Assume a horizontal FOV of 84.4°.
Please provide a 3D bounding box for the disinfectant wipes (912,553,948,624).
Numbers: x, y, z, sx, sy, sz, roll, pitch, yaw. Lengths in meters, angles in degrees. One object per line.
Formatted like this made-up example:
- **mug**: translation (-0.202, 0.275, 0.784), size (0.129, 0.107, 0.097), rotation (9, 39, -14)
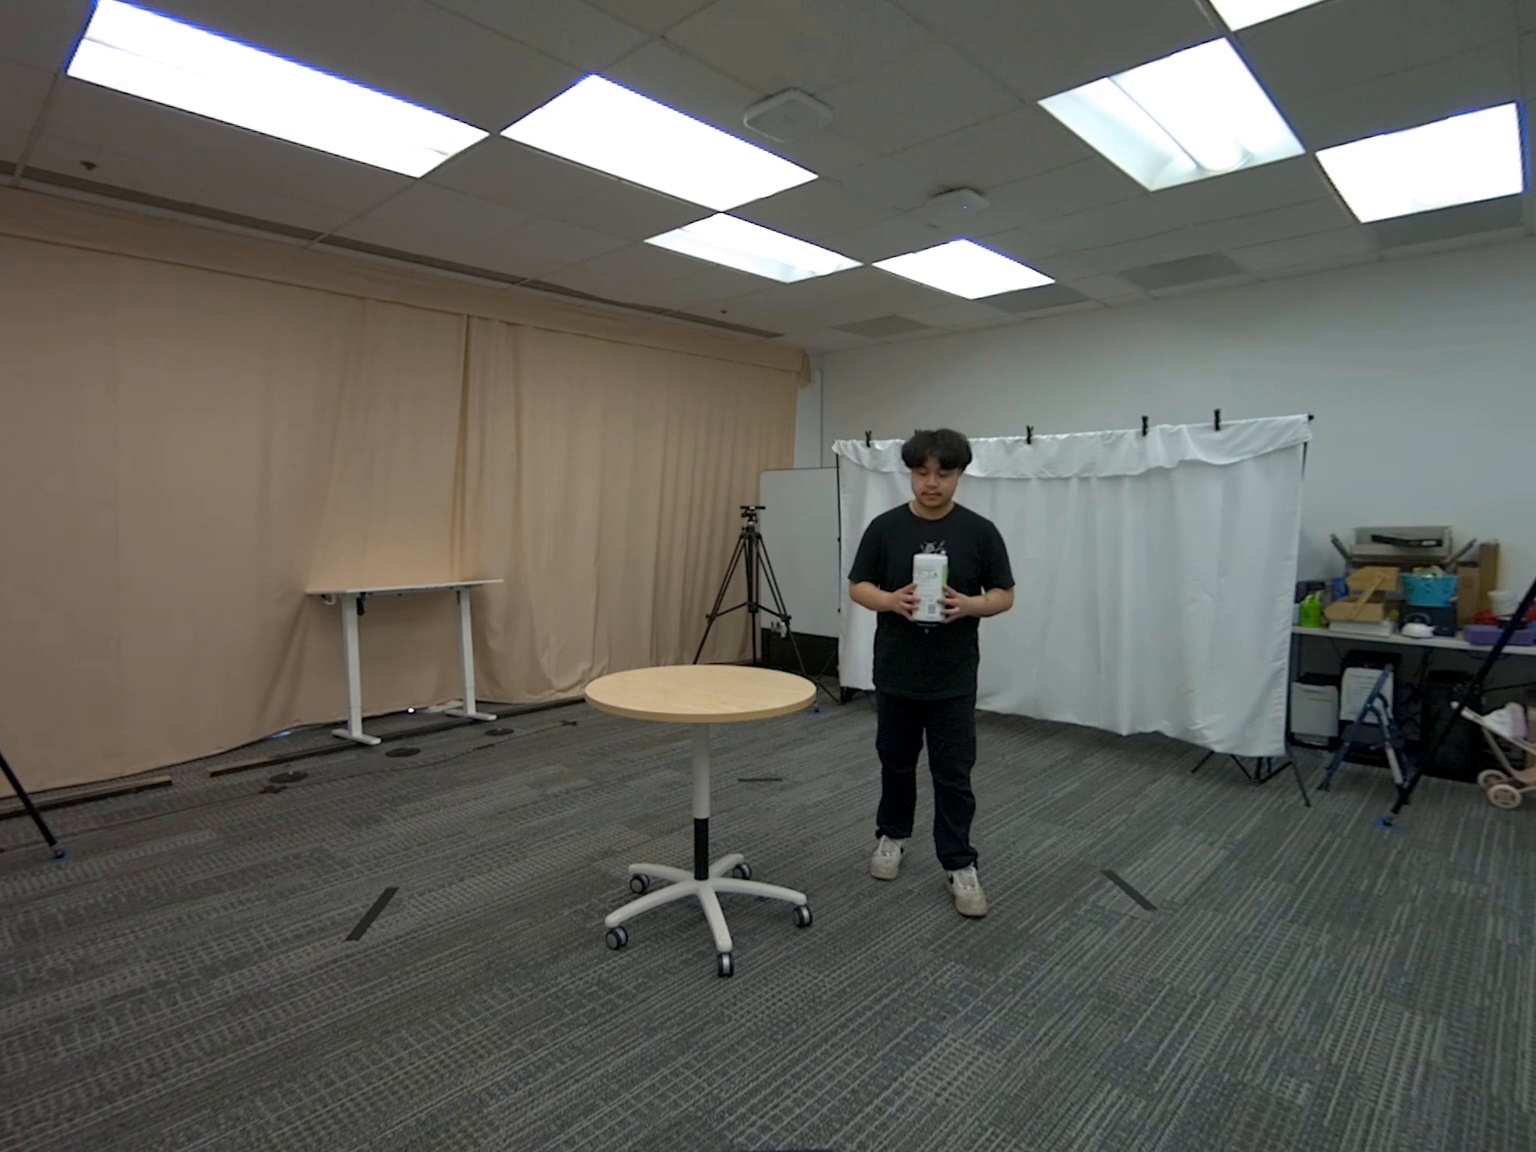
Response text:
- **disinfectant wipes**: translation (0.545, 0.037, 2.808), size (0.117, 0.217, 0.118), rotation (1, 6, -2)
